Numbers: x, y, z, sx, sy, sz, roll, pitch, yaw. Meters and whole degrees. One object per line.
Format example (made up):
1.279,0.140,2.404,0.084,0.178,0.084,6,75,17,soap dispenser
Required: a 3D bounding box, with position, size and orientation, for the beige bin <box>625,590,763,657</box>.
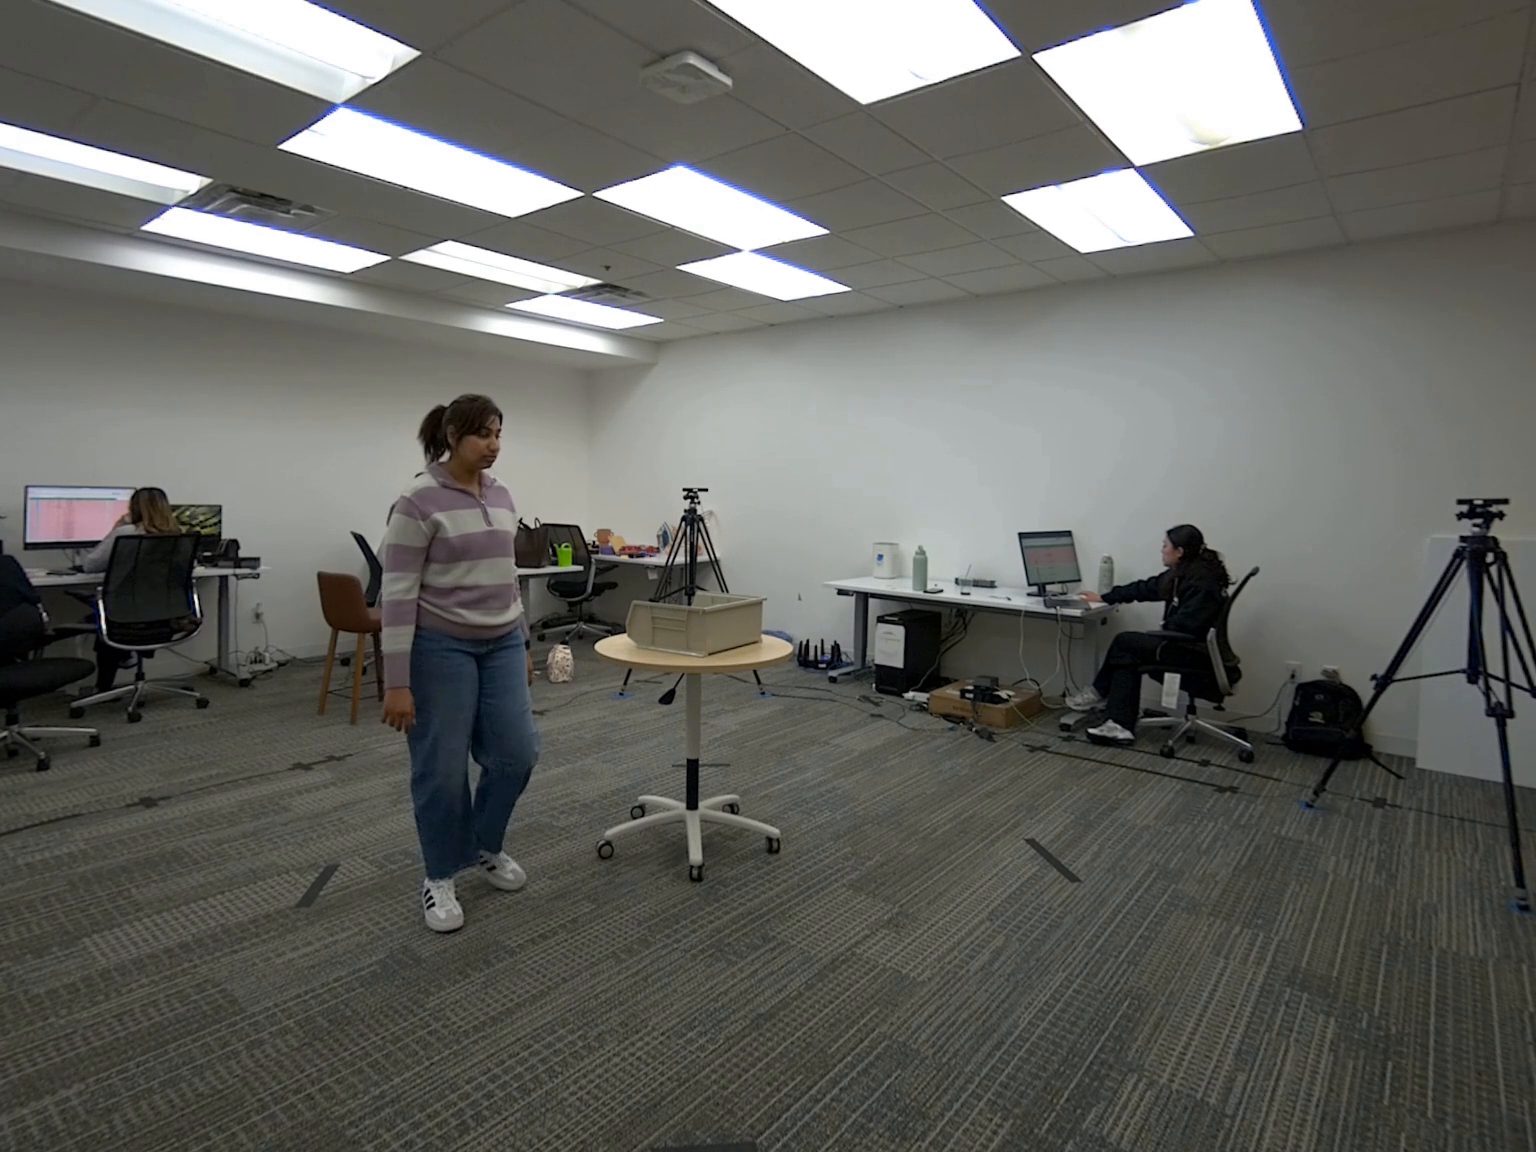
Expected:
-0.285,0.175,3.317,0.389,0.188,0.411,6,7,32,beige bin
